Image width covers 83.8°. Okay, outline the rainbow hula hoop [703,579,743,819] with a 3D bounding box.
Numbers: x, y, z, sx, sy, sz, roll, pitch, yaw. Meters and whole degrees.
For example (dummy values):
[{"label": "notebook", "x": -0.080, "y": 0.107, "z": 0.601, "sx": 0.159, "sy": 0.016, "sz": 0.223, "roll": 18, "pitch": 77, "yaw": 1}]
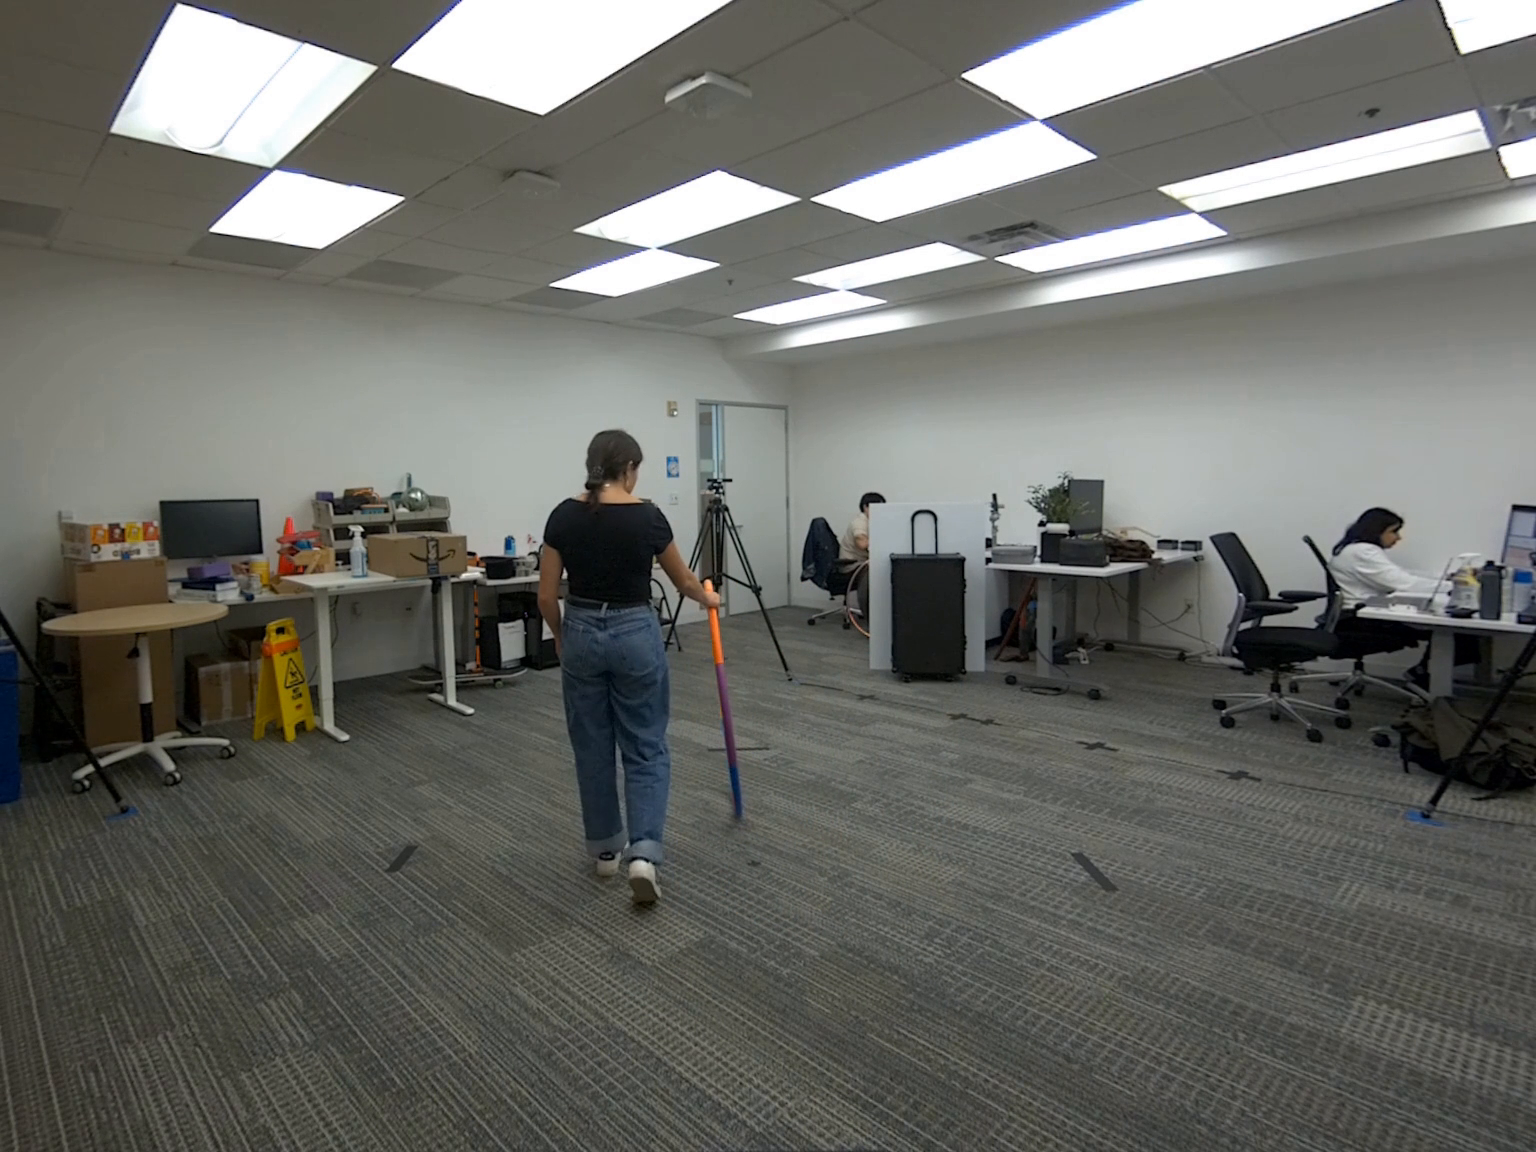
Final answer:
[{"label": "rainbow hula hoop", "x": -0.196, "y": 0.510, "z": 3.611, "sx": 0.035, "sy": 0.974, "sz": 0.986, "roll": -6, "pitch": 5, "yaw": -4}]
